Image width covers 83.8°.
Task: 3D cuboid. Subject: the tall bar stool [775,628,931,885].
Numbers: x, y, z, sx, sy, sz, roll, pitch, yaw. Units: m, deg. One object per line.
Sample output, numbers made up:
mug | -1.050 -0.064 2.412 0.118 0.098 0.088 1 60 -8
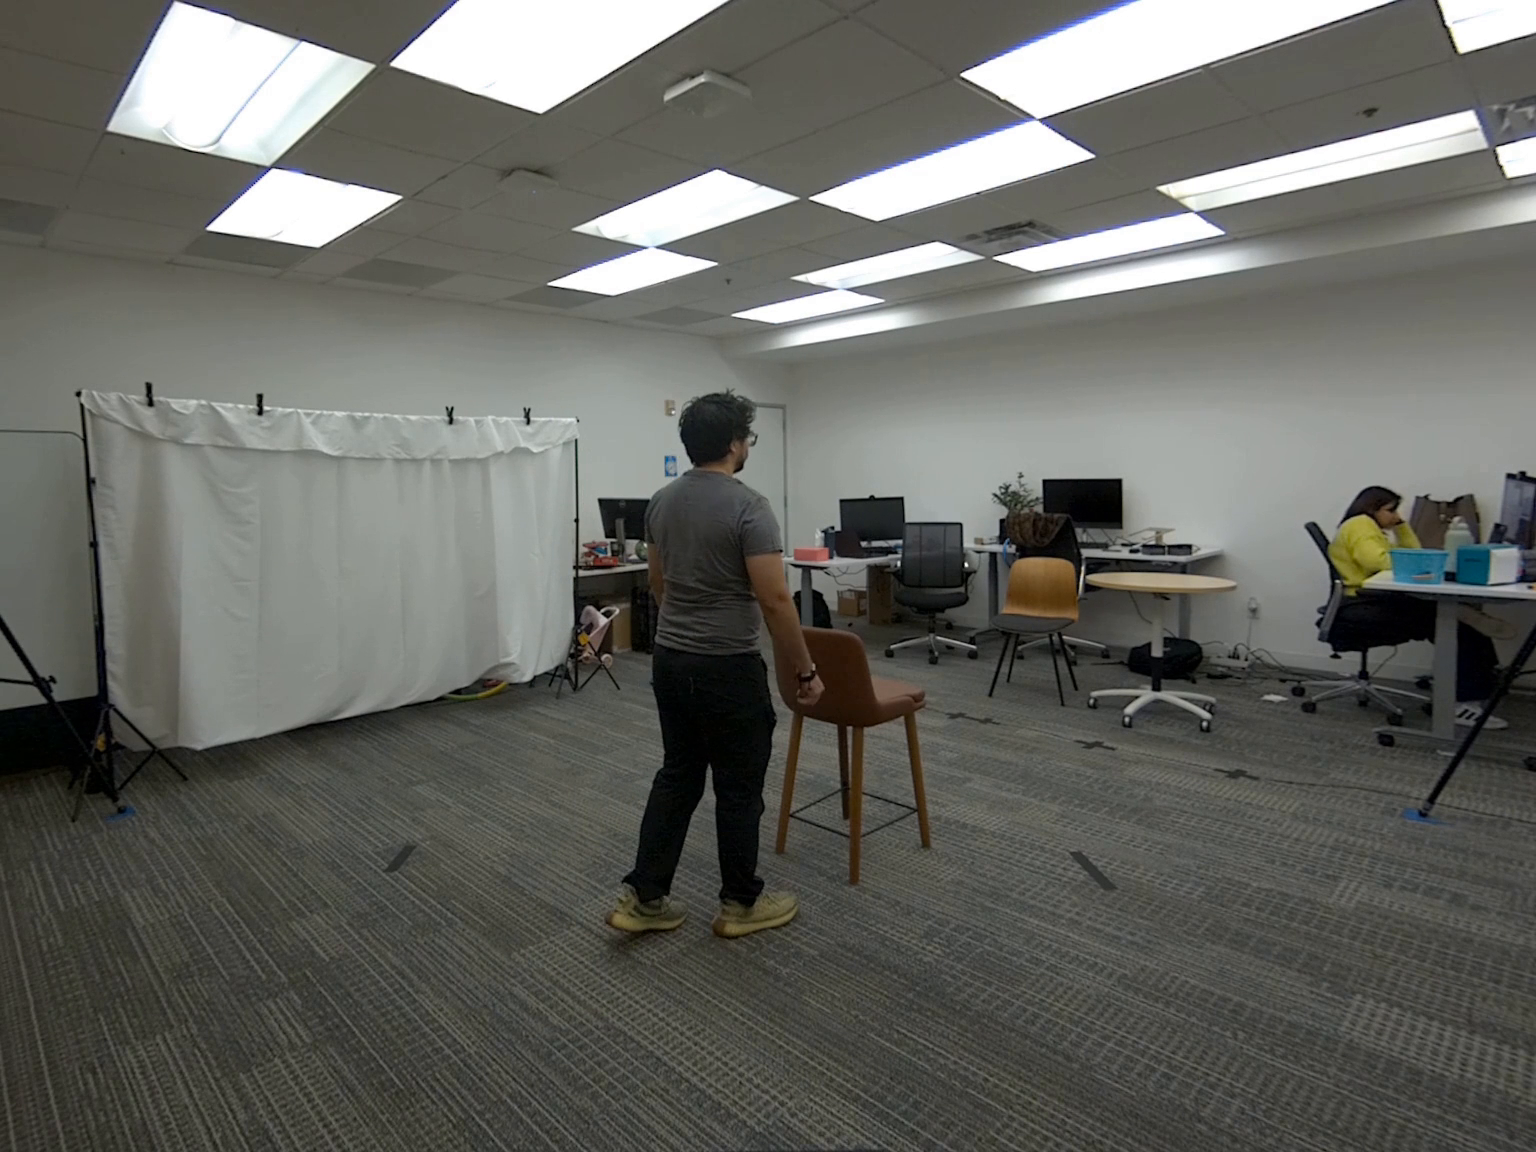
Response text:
tall bar stool | 0.306 0.594 3.180 0.456 0.885 0.471 -7 8 -44
